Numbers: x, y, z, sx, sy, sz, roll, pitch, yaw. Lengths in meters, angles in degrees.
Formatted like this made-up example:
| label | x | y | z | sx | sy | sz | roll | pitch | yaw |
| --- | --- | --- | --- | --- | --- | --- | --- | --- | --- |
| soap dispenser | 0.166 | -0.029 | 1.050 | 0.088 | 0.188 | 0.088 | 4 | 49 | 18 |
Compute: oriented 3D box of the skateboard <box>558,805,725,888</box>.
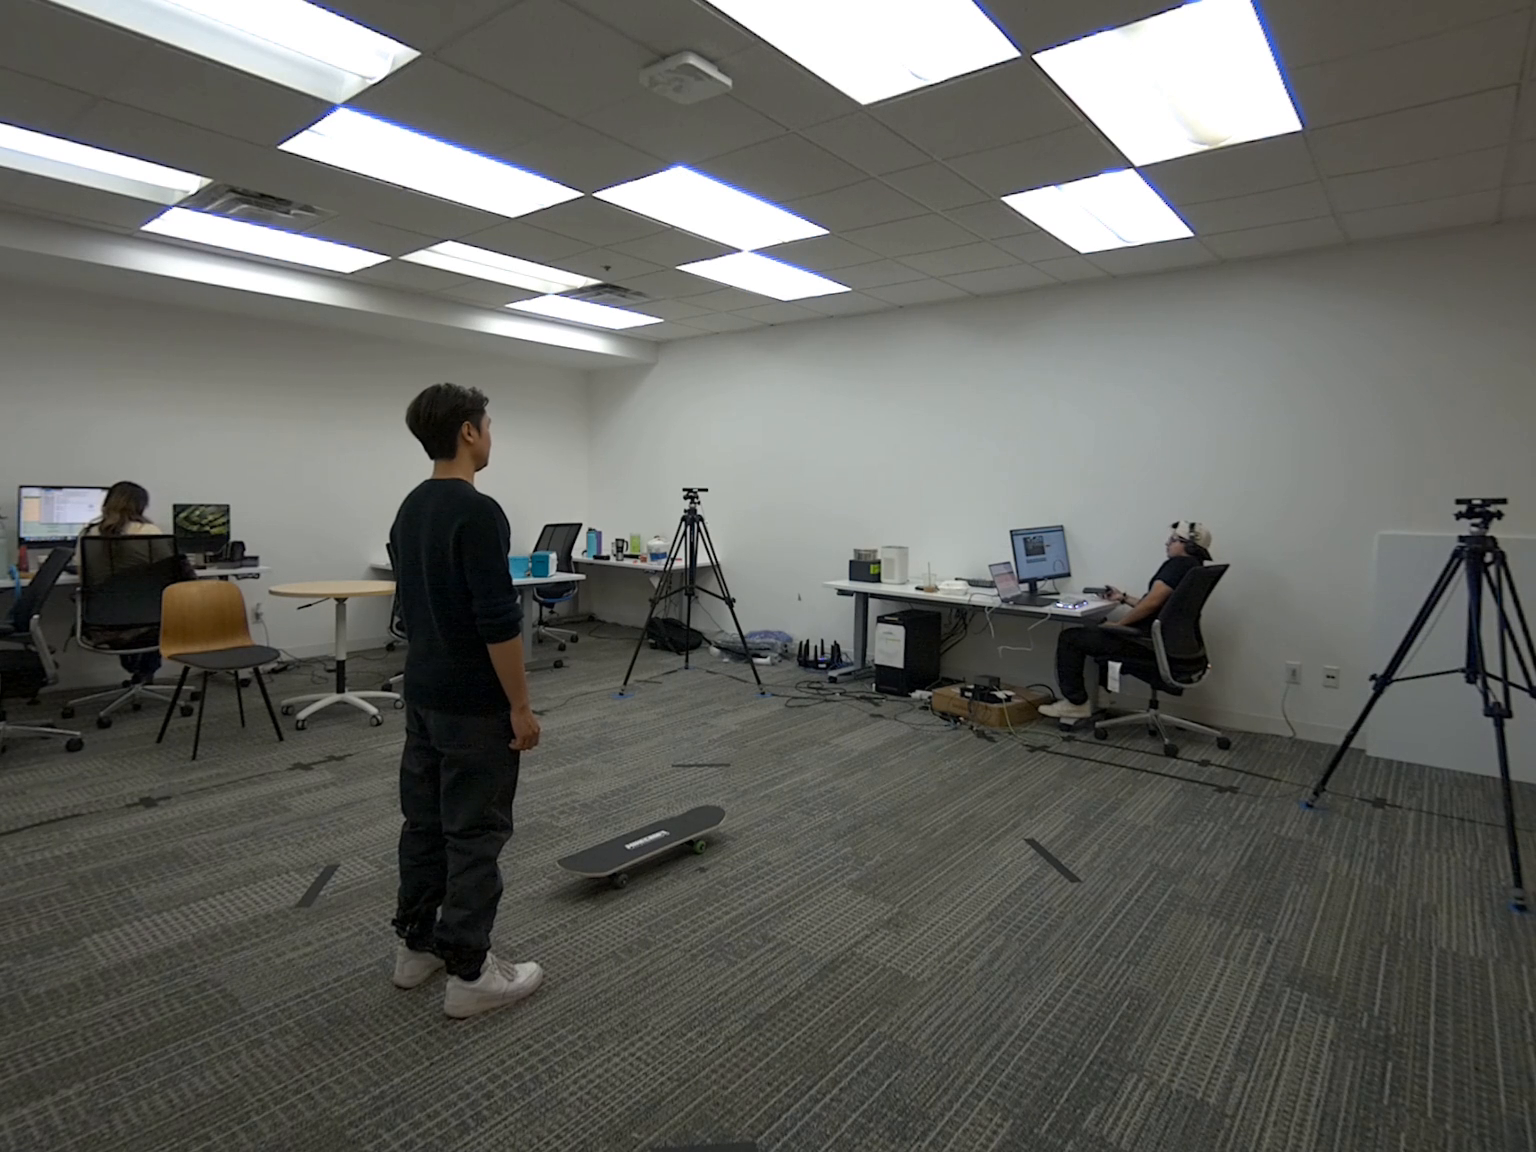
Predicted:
| label | x | y | z | sx | sy | sz | roll | pitch | yaw |
| --- | --- | --- | --- | --- | --- | --- | --- | --- | --- |
| skateboard | -0.454 | 1.007 | 3.149 | 0.200 | 0.110 | 0.762 | 6 | 7 | 40 |
